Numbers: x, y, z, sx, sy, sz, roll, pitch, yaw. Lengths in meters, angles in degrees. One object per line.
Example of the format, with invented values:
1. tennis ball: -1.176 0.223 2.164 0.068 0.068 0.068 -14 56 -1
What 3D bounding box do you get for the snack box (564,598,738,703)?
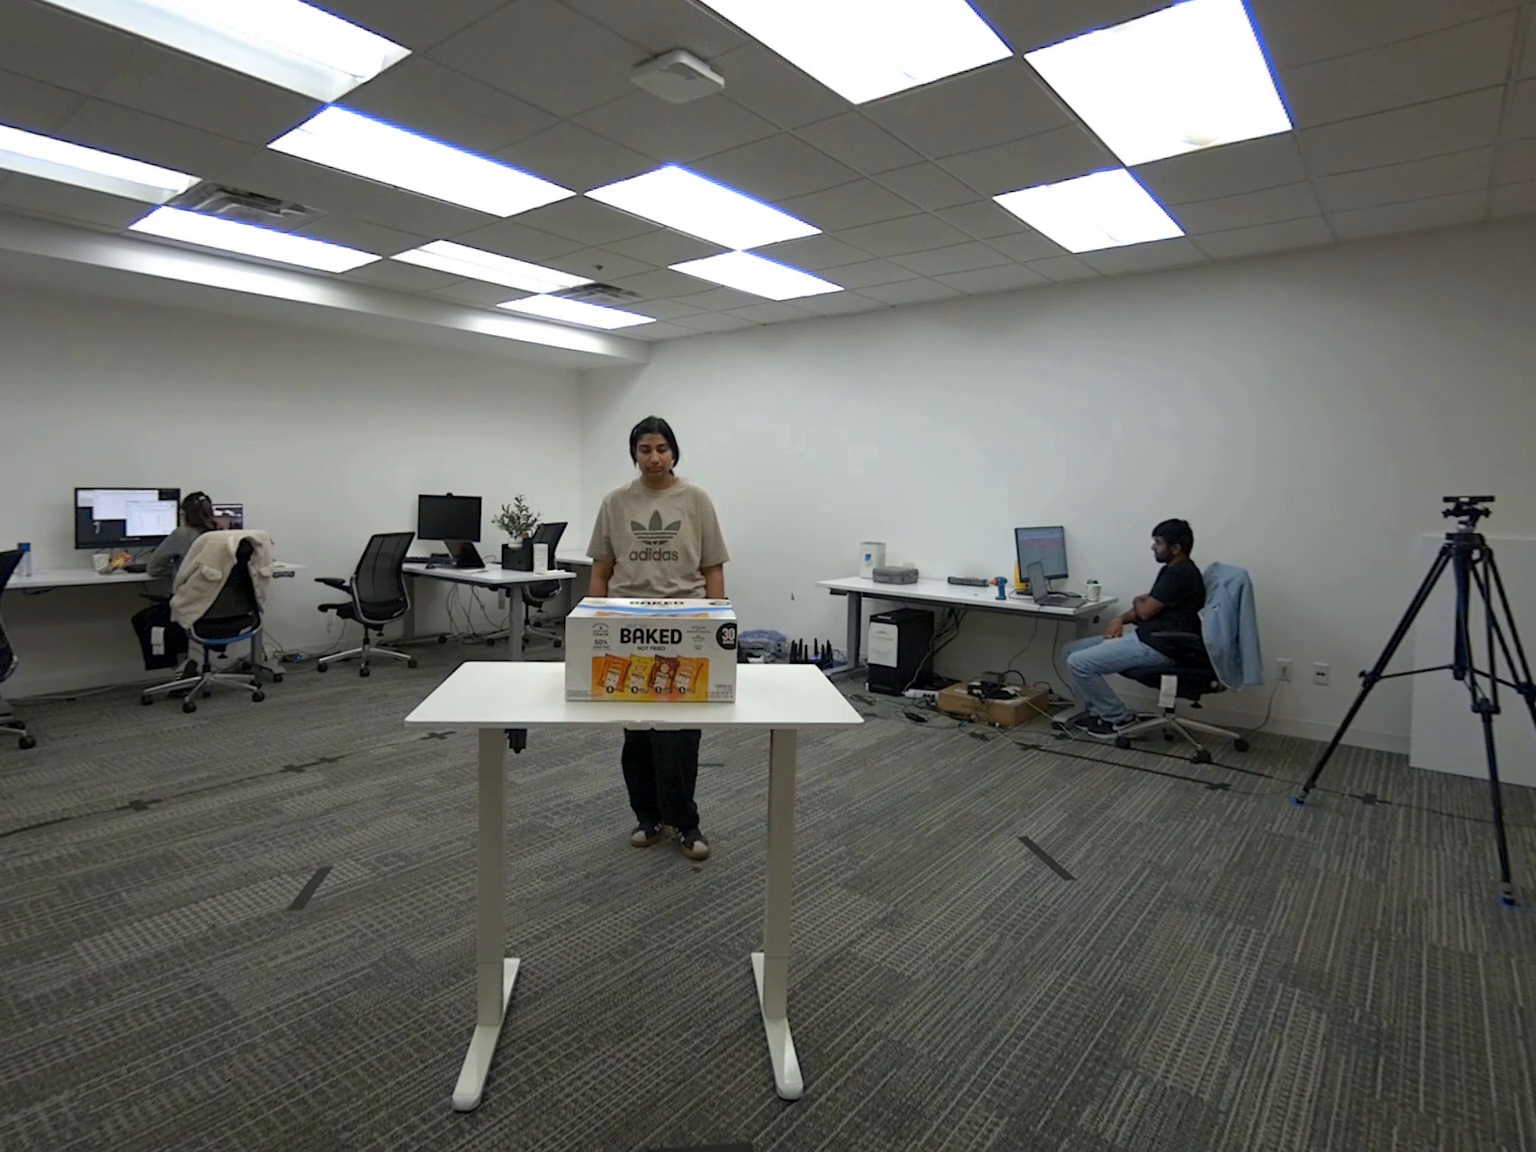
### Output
1. snack box: -0.299 0.179 2.177 0.404 0.205 0.343 1 6 -4
